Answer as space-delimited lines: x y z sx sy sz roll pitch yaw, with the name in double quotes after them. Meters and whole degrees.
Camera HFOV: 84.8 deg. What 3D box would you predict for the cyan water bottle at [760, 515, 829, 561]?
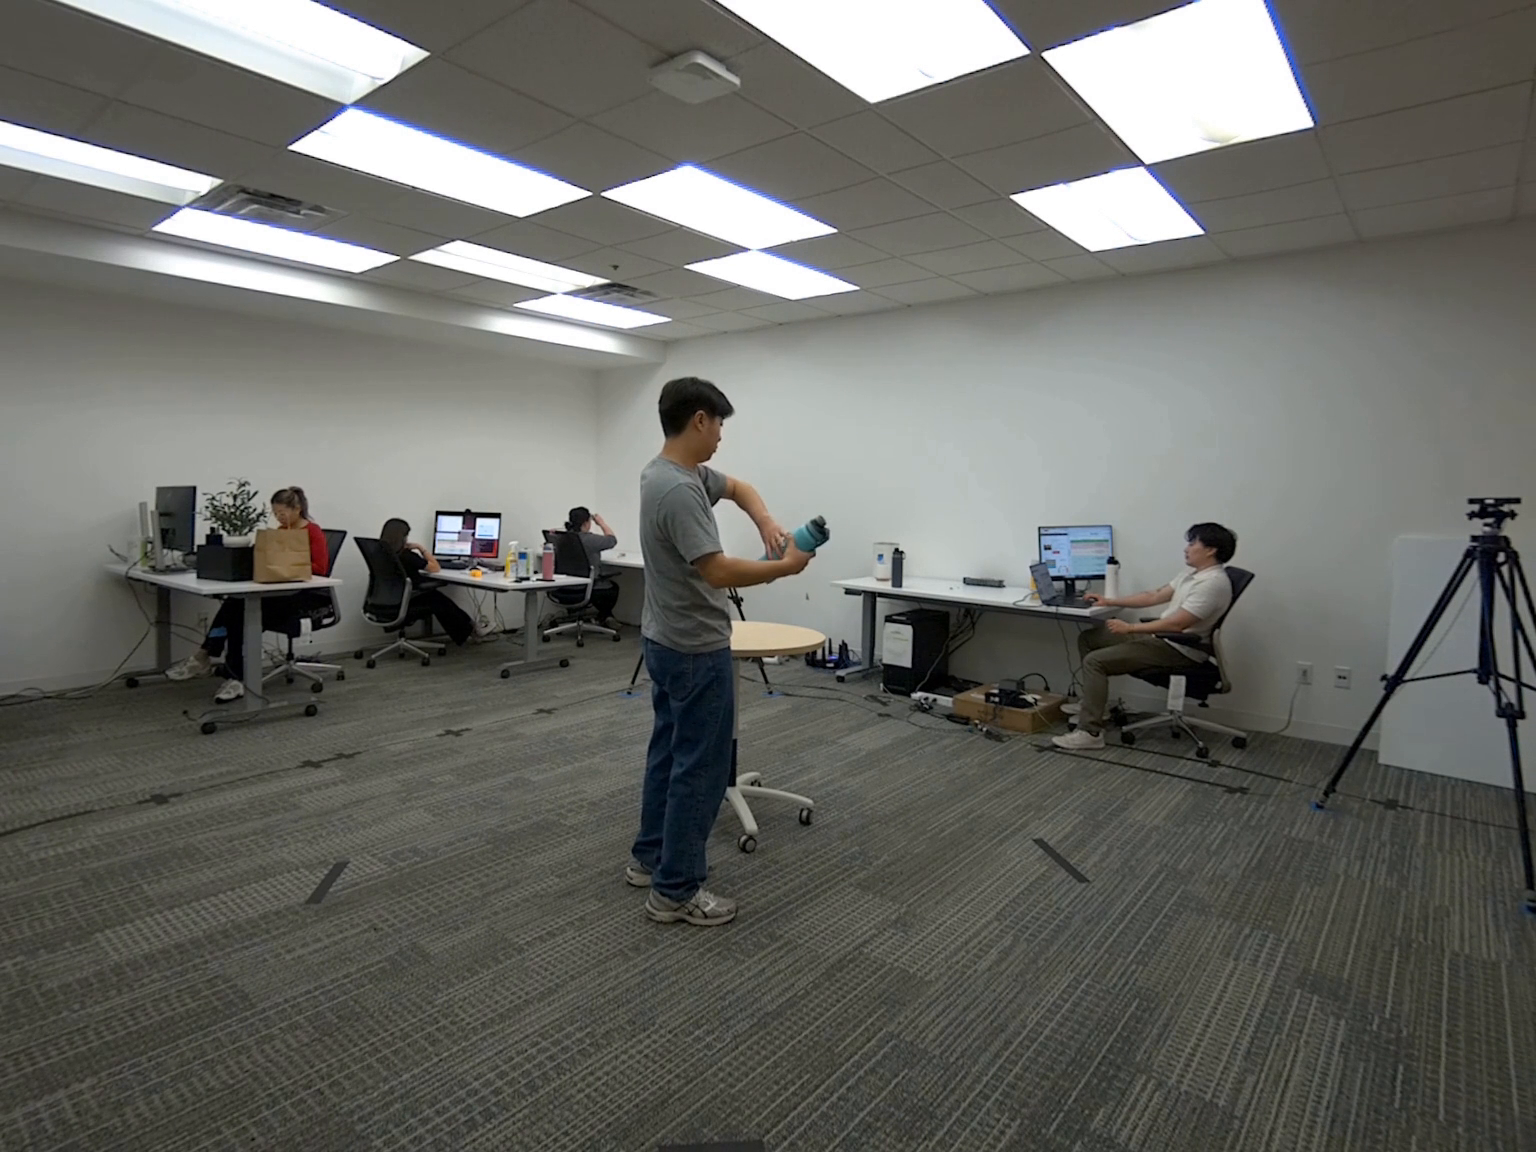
0.072 -0.090 2.787 0.285 0.094 0.090 -37 -10 19 "cyan water bottle"
